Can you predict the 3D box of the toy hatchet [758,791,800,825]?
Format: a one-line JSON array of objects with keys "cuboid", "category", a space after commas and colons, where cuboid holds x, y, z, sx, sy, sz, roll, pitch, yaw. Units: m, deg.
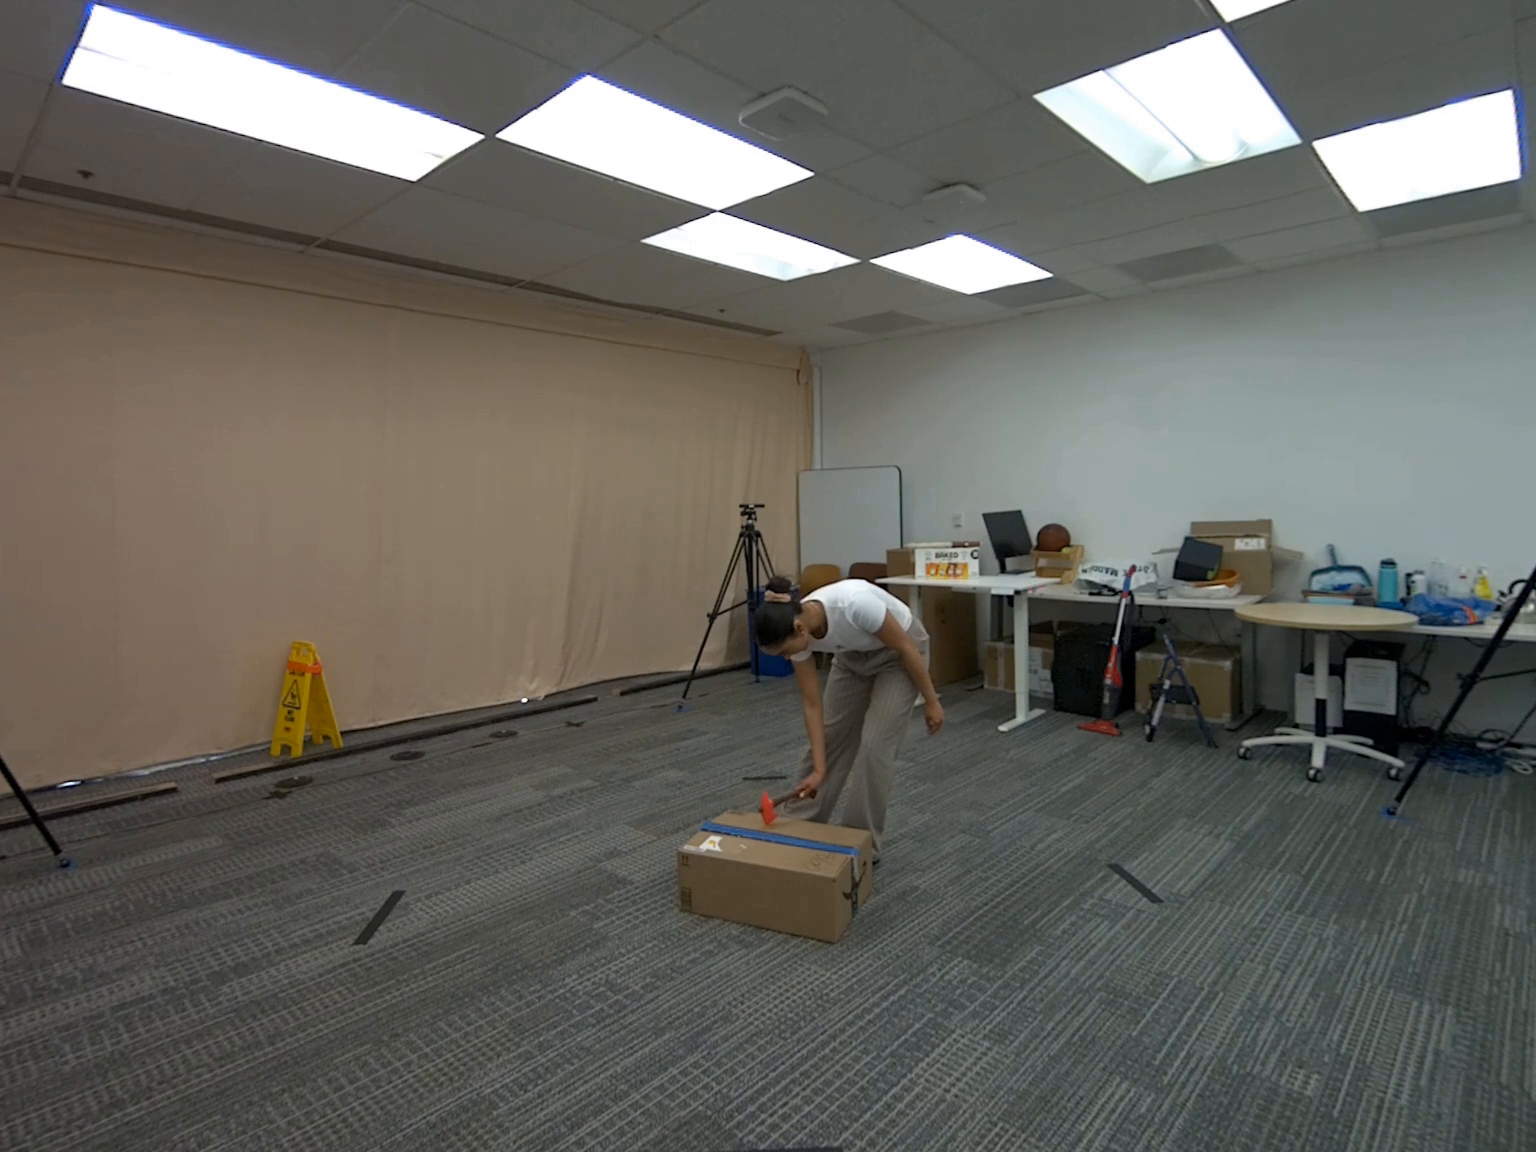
[{"cuboid": [0.078, 0.863, 3.124, 0.261, 0.131, 0.030, 14, 0, -34], "category": "toy hatchet"}]
